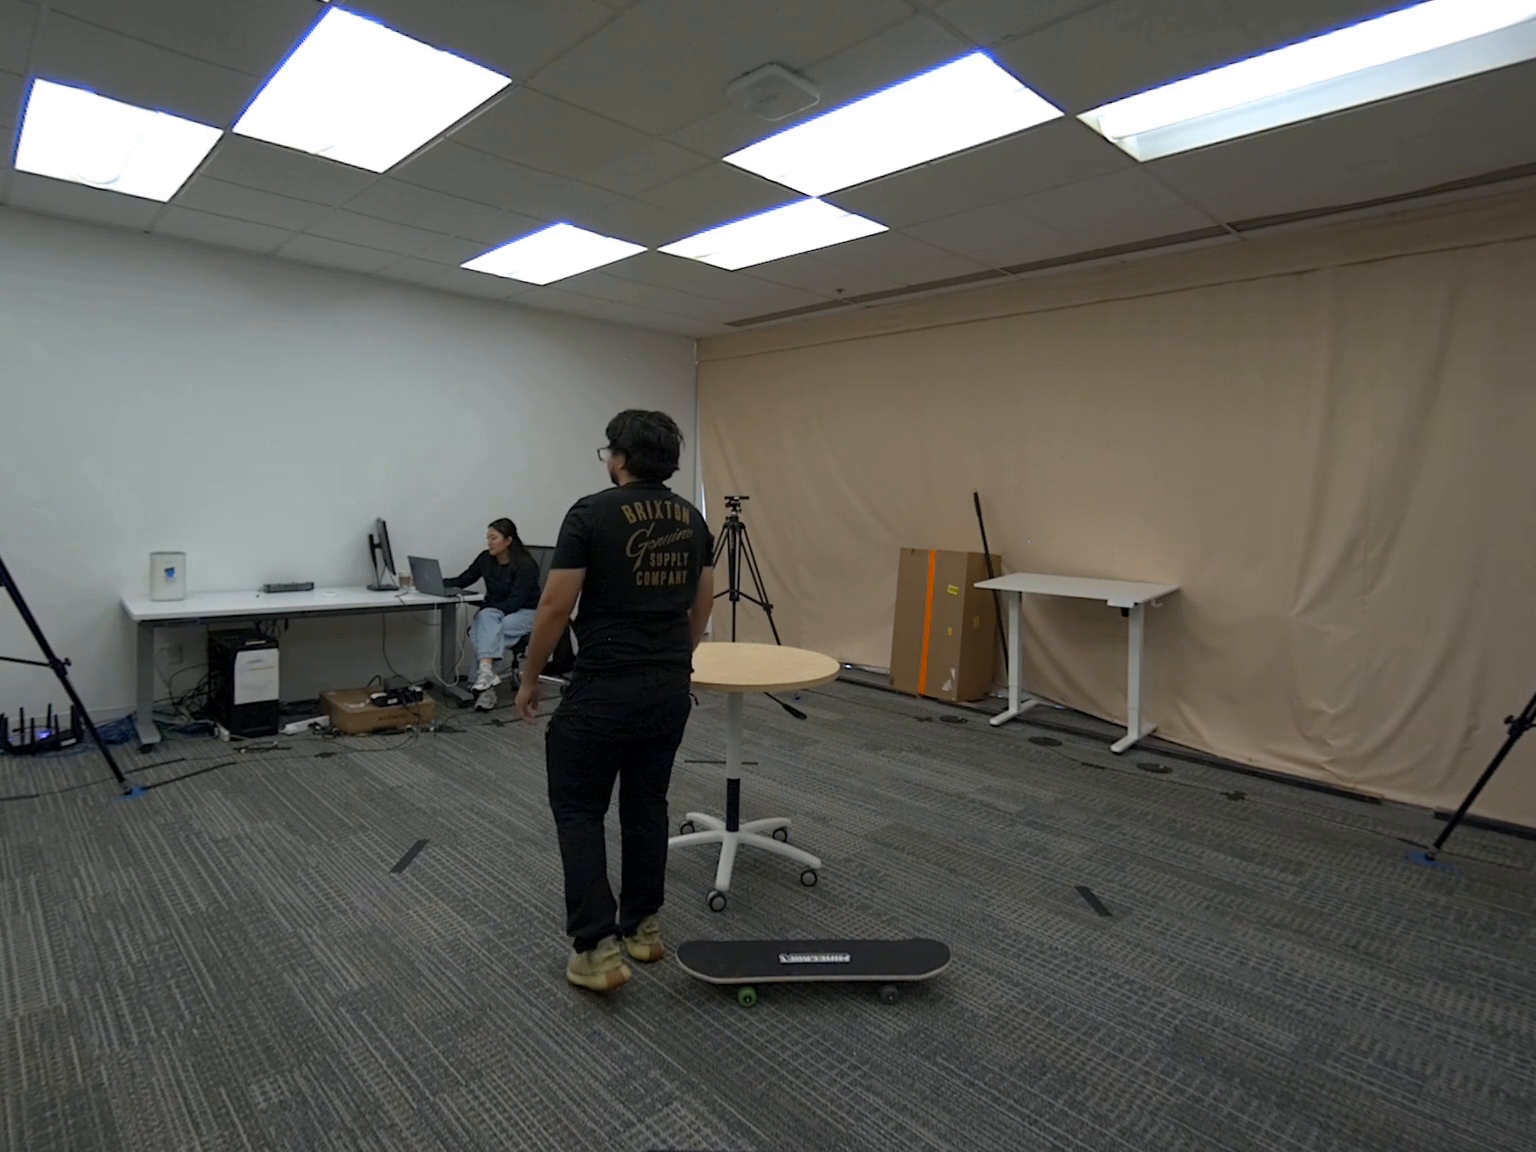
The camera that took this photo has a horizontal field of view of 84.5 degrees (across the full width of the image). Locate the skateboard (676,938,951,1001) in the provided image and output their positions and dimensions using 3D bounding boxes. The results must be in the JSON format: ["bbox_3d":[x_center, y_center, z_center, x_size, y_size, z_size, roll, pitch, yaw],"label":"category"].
[{"bbox_3d":[0.134,1.126,2.393,0.783,0.110,0.195,1,6,-4],"label":"skateboard"}]
